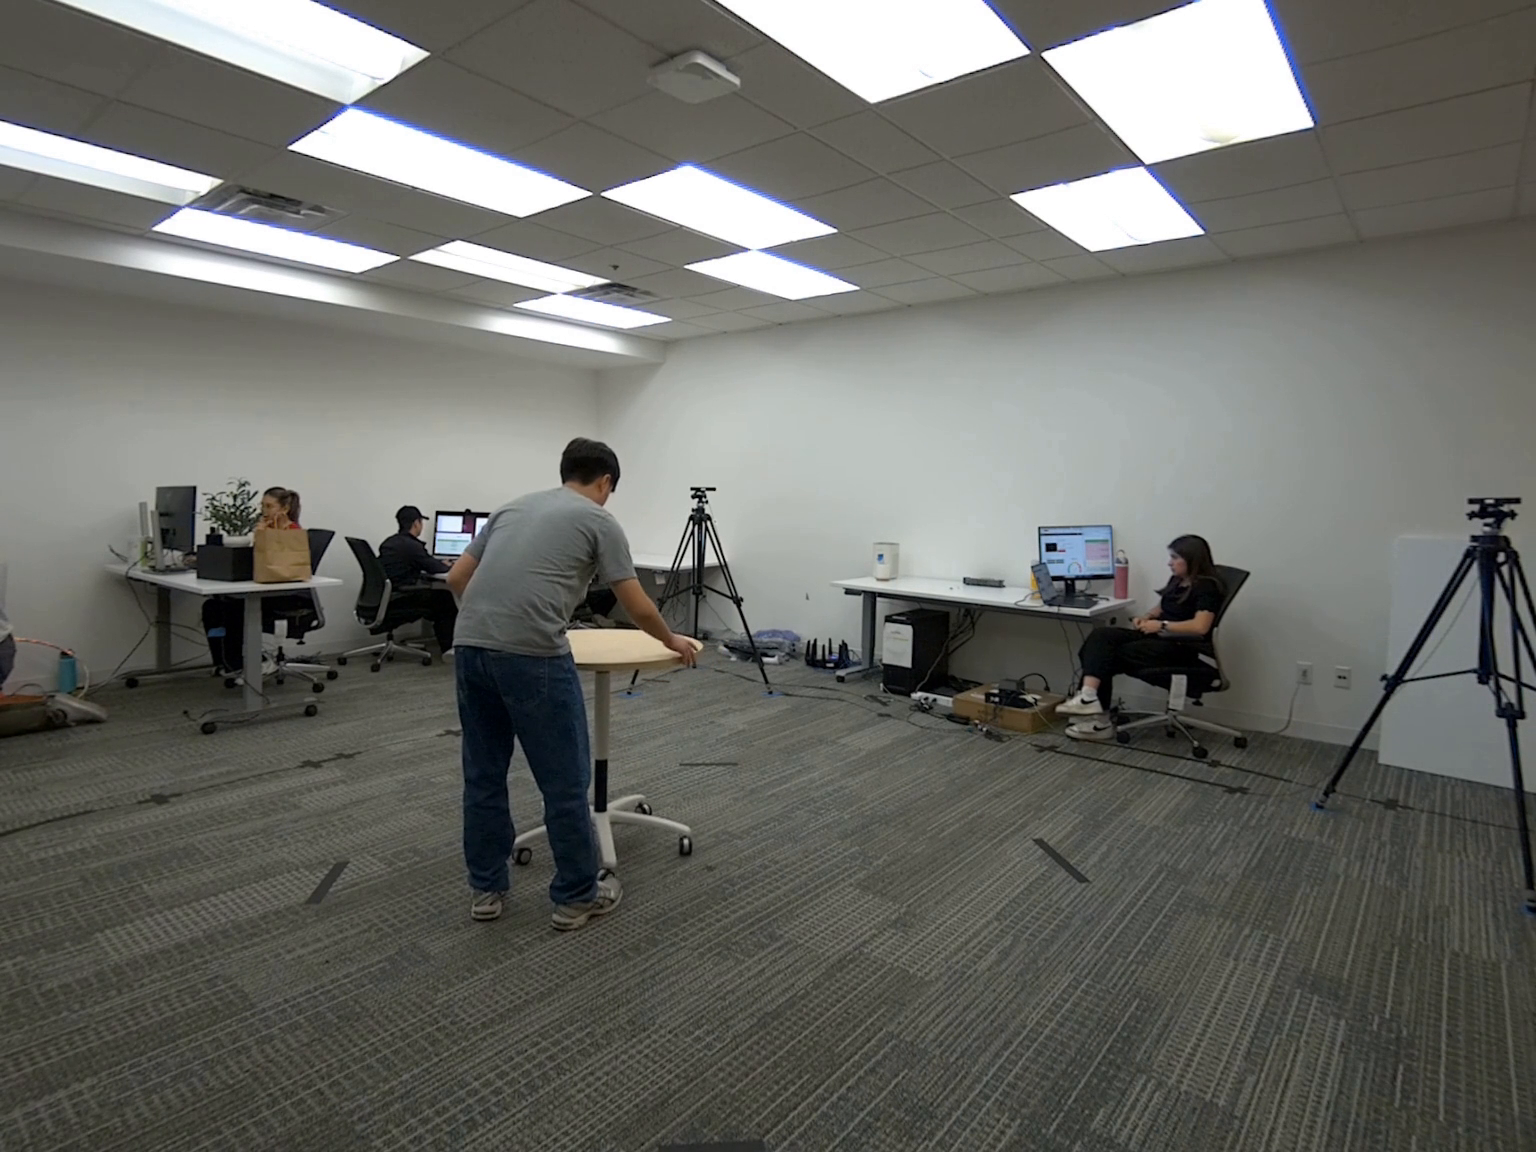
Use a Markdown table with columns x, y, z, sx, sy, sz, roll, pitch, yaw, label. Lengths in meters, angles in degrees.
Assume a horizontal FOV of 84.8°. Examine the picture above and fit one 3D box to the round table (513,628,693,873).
| x | y | z | sx | sy | sz | roll | pitch | yaw | label |
| --- | --- | --- | --- | --- | --- | --- | --- | --- | --- |
| -0.641 | 0.655 | 3.269 | 0.763 | 0.792 | 0.767 | 1 | 4 | -2 | round table |
